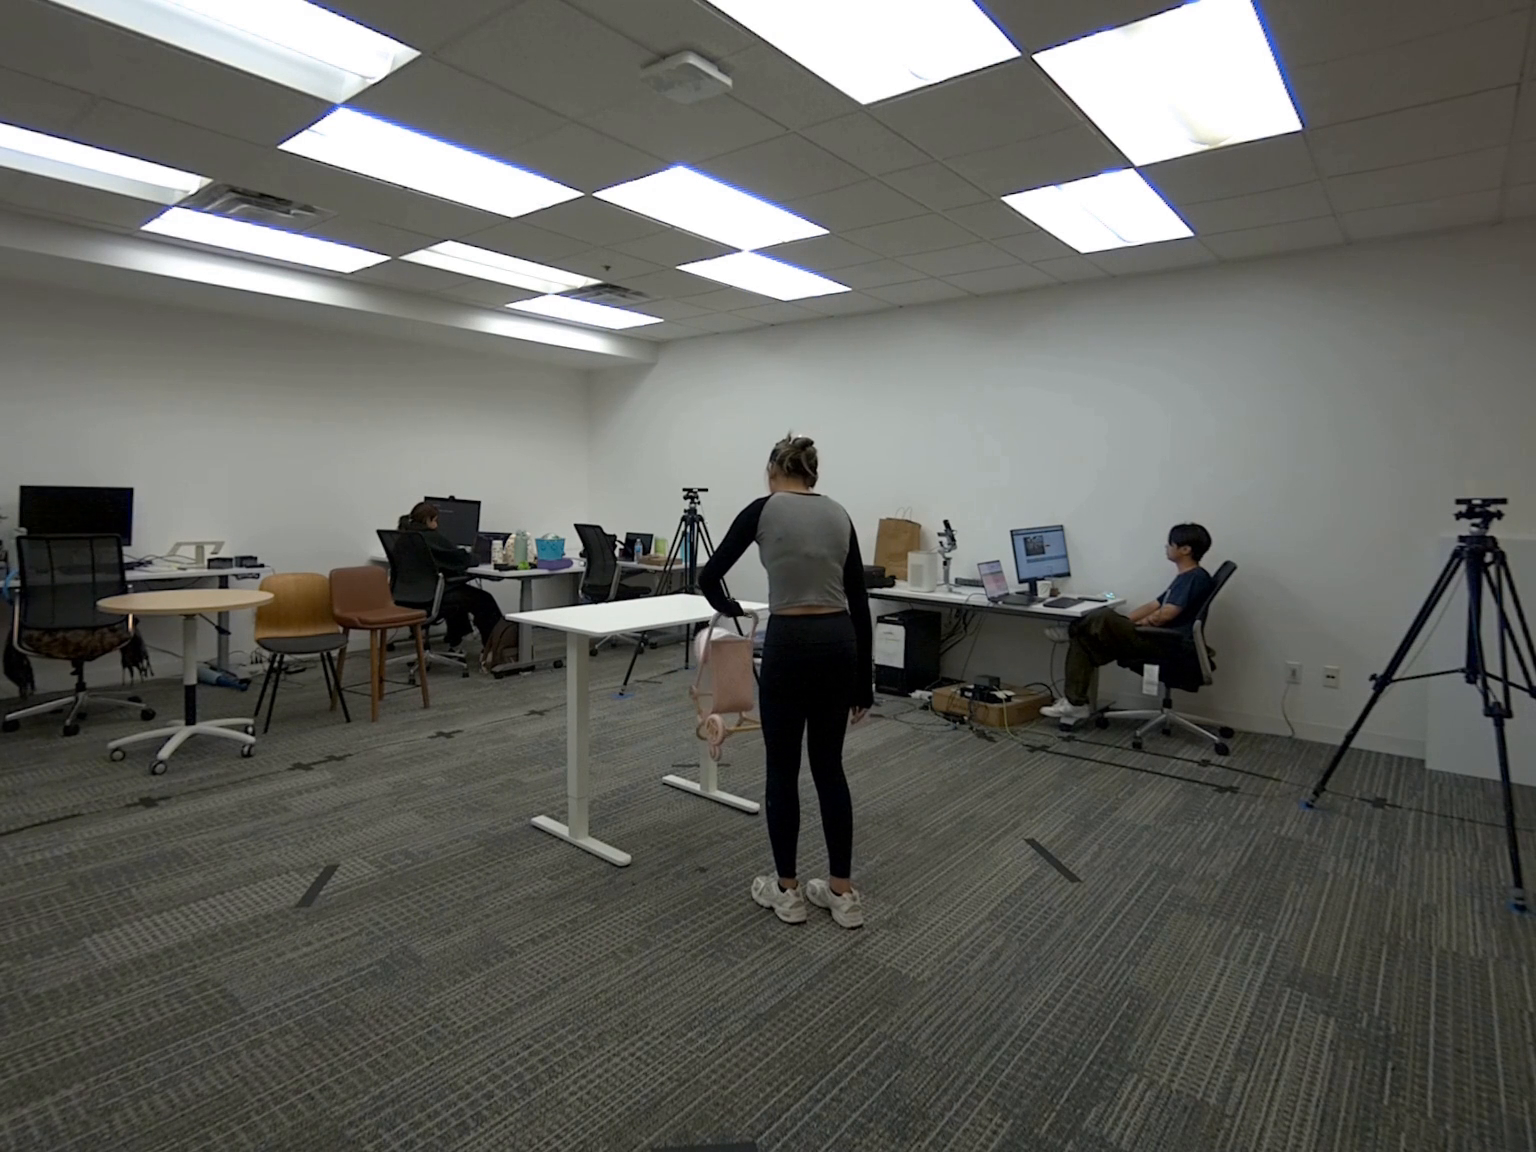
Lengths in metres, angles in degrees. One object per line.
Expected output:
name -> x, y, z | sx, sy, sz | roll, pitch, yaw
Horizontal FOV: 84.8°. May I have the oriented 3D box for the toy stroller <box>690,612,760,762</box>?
toy stroller -> -0.167, 0.417, 3.207 | 0.274, 0.543, 0.345 | -1, -14, -28
